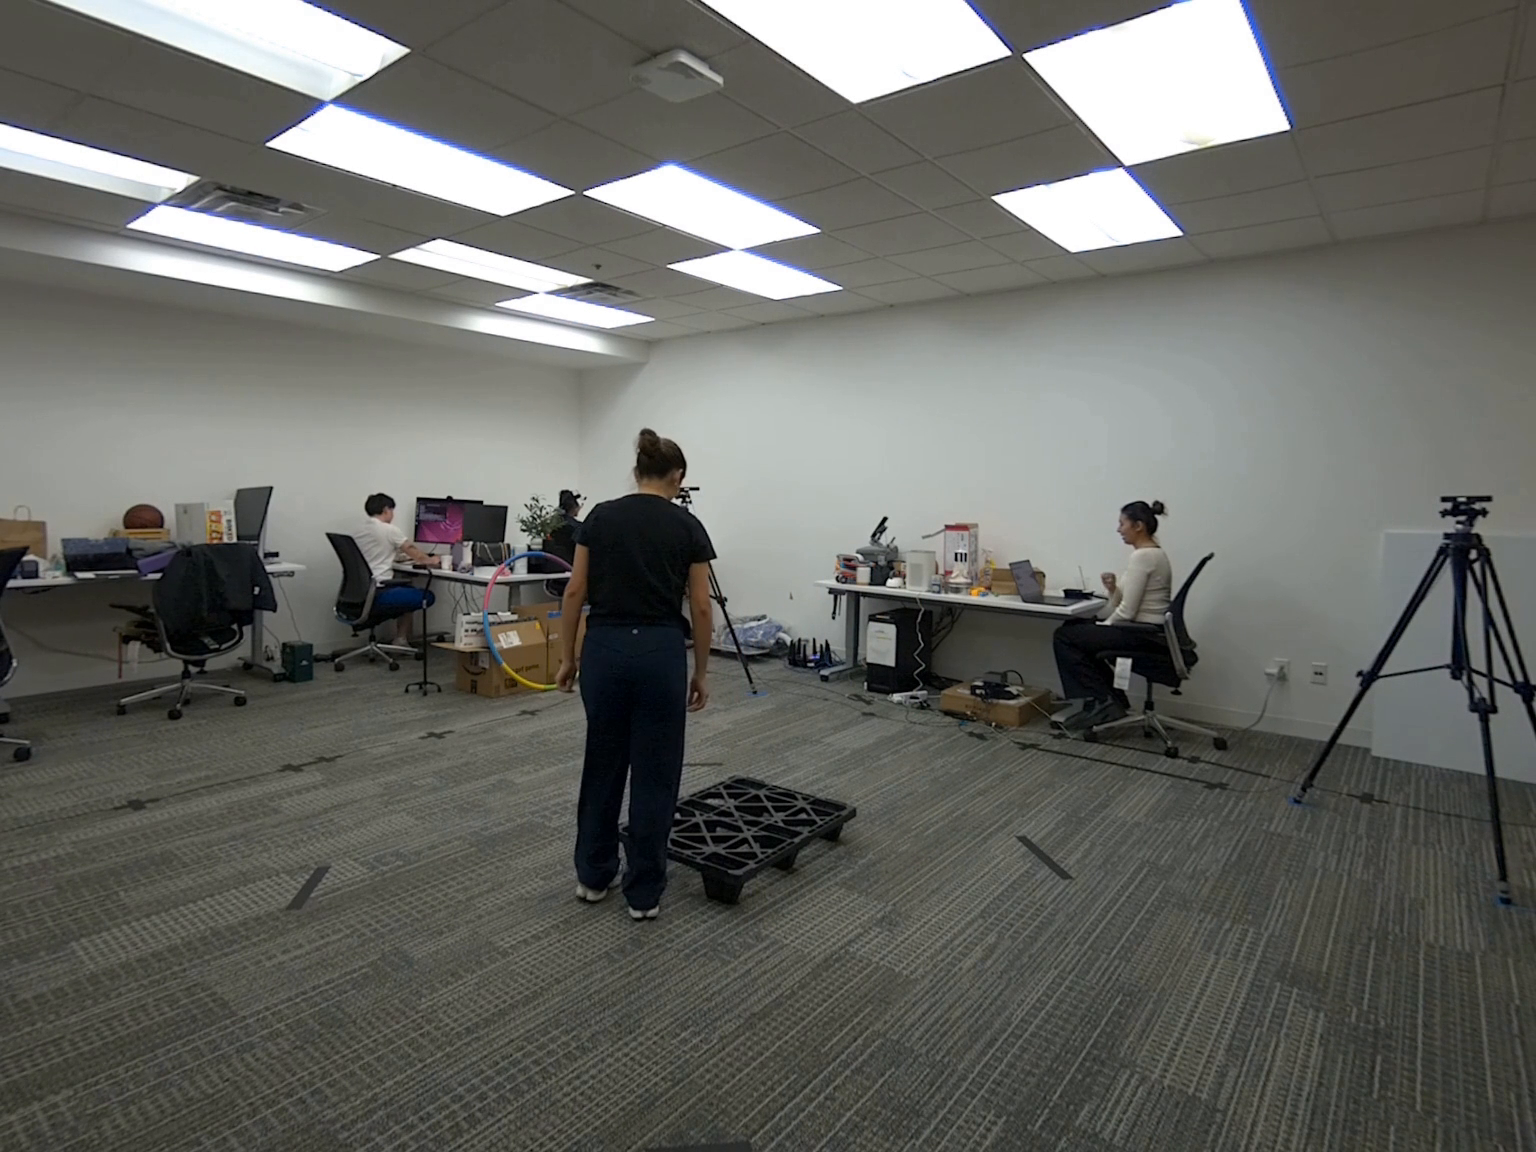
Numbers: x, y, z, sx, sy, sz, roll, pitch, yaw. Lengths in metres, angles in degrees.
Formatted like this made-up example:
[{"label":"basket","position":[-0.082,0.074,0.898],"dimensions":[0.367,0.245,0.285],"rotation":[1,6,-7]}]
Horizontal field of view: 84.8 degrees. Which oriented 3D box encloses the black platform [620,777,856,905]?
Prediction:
[{"label":"black platform","position":[-0.088,0.986,3.269],"dimensions":[0.625,0.143,0.783],"rotation":[5,7,37]}]
